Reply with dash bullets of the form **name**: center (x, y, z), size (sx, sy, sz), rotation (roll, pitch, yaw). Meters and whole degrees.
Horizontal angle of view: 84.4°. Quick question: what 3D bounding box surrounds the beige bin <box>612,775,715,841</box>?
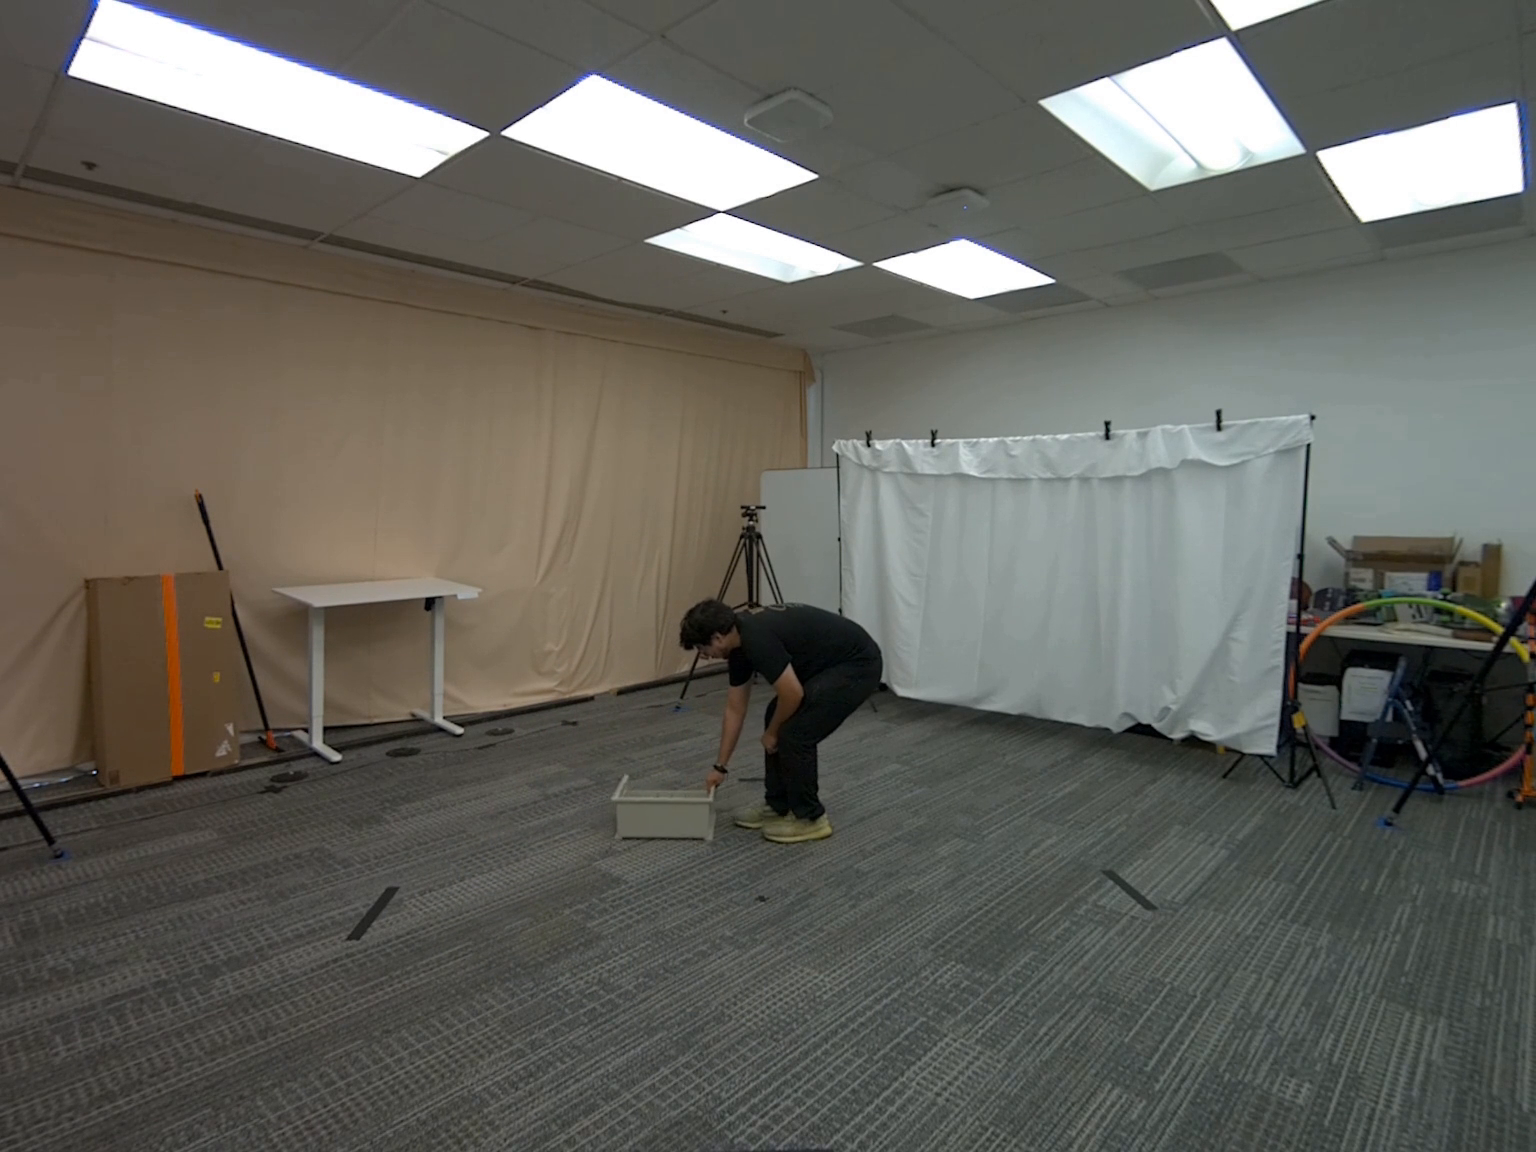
- **beige bin**: center (-0.440, 0.999, 3.688), size (0.423, 0.188, 0.378), rotation (0, 7, 2)
